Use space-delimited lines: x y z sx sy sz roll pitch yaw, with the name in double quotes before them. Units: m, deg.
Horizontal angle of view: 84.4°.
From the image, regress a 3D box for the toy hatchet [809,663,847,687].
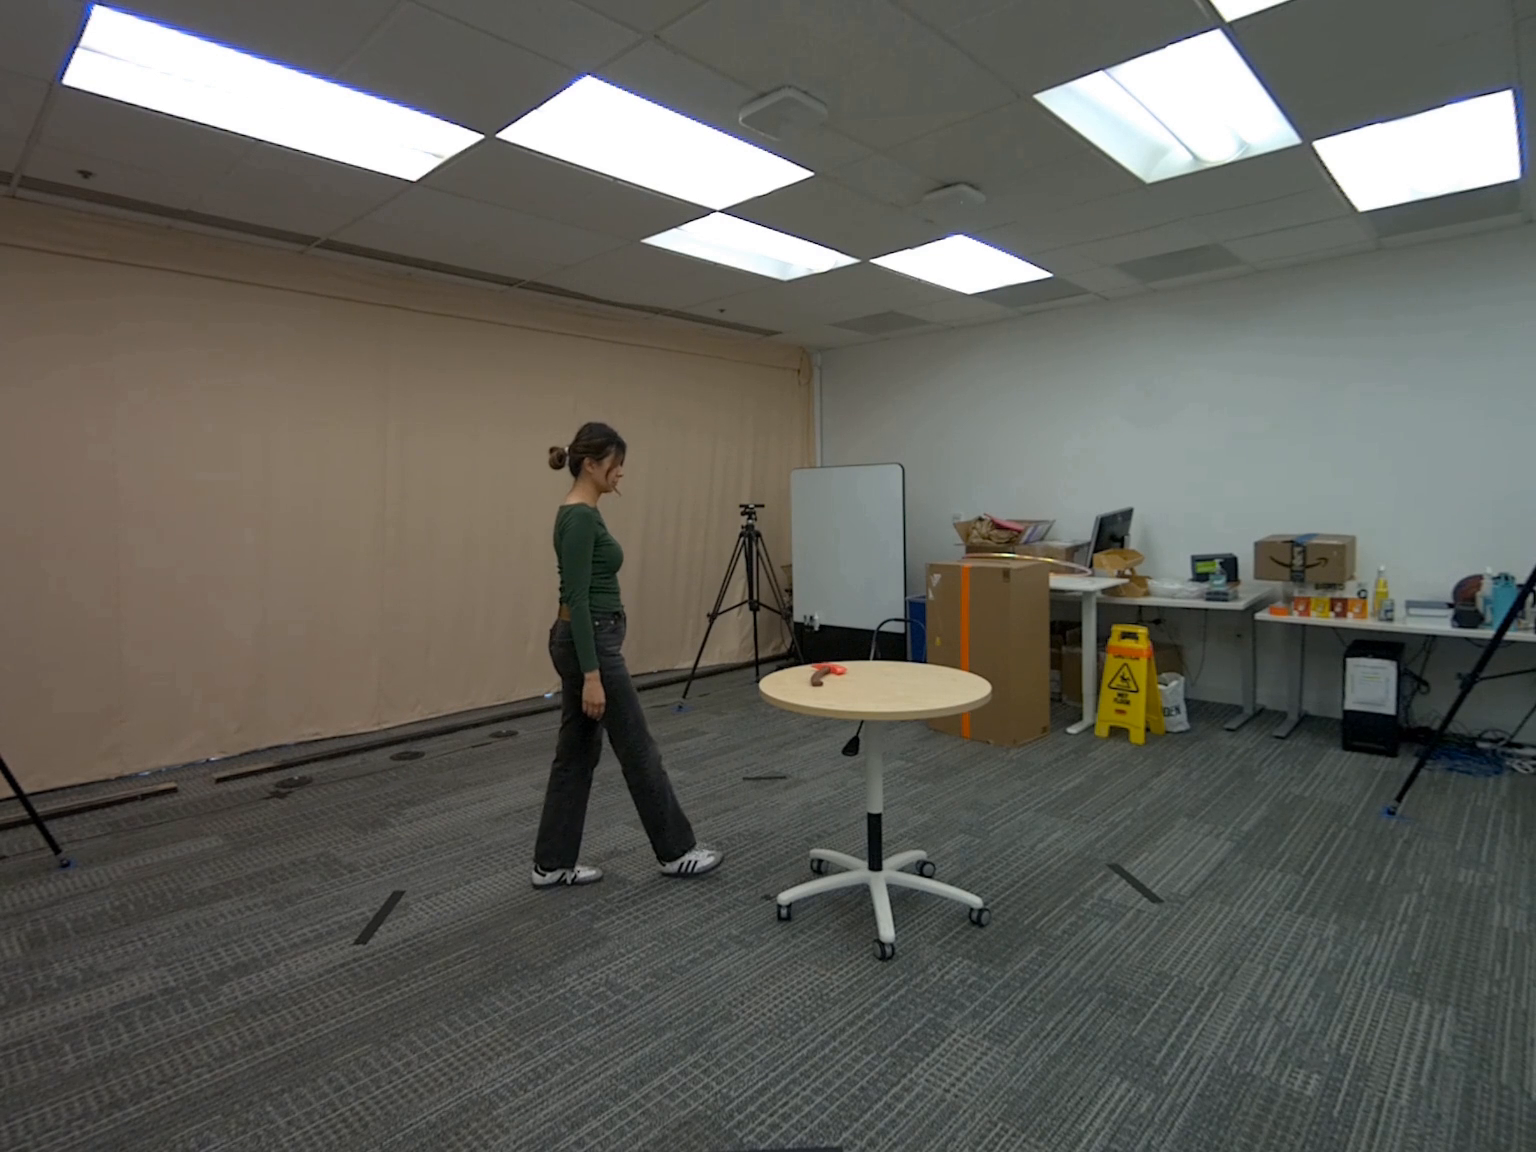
"toy hatchet" 0.215 0.351 2.931 0.132 0.029 0.270 3 8 3
